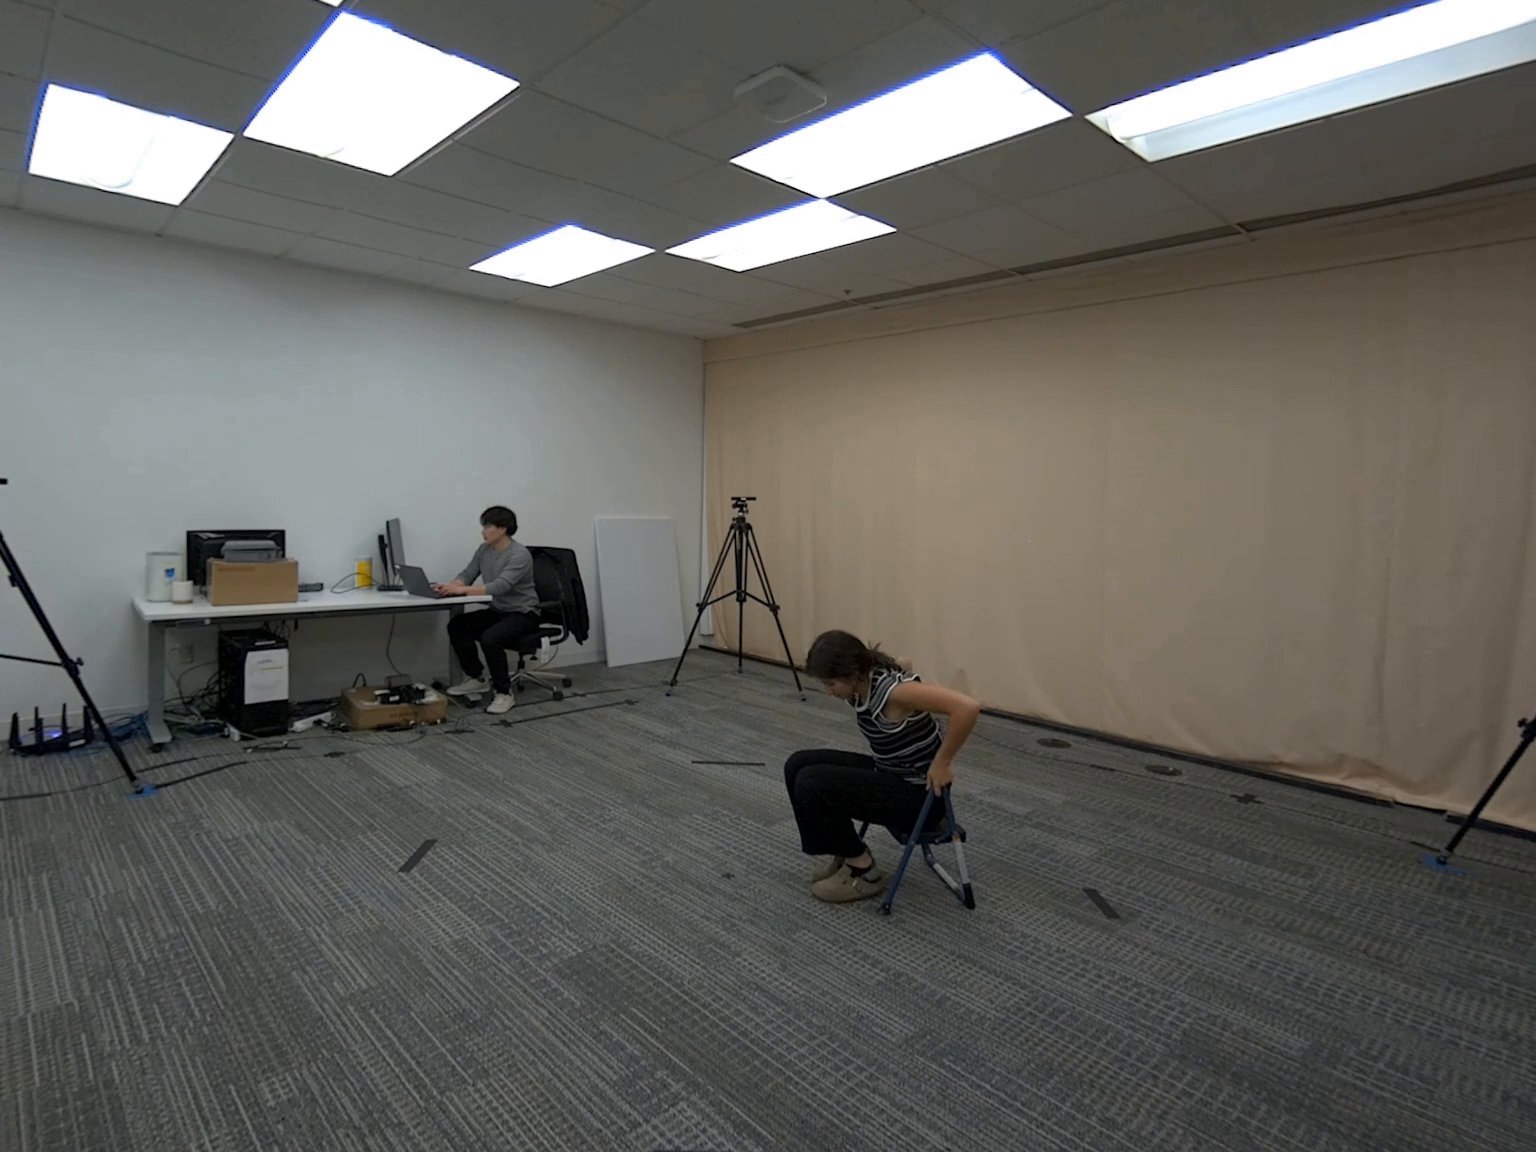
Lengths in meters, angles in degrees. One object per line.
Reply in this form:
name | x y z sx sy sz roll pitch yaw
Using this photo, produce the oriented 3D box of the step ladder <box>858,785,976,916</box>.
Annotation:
step ladder | 0.509 0.834 3.054 0.346 0.604 0.435 0 5 -11
